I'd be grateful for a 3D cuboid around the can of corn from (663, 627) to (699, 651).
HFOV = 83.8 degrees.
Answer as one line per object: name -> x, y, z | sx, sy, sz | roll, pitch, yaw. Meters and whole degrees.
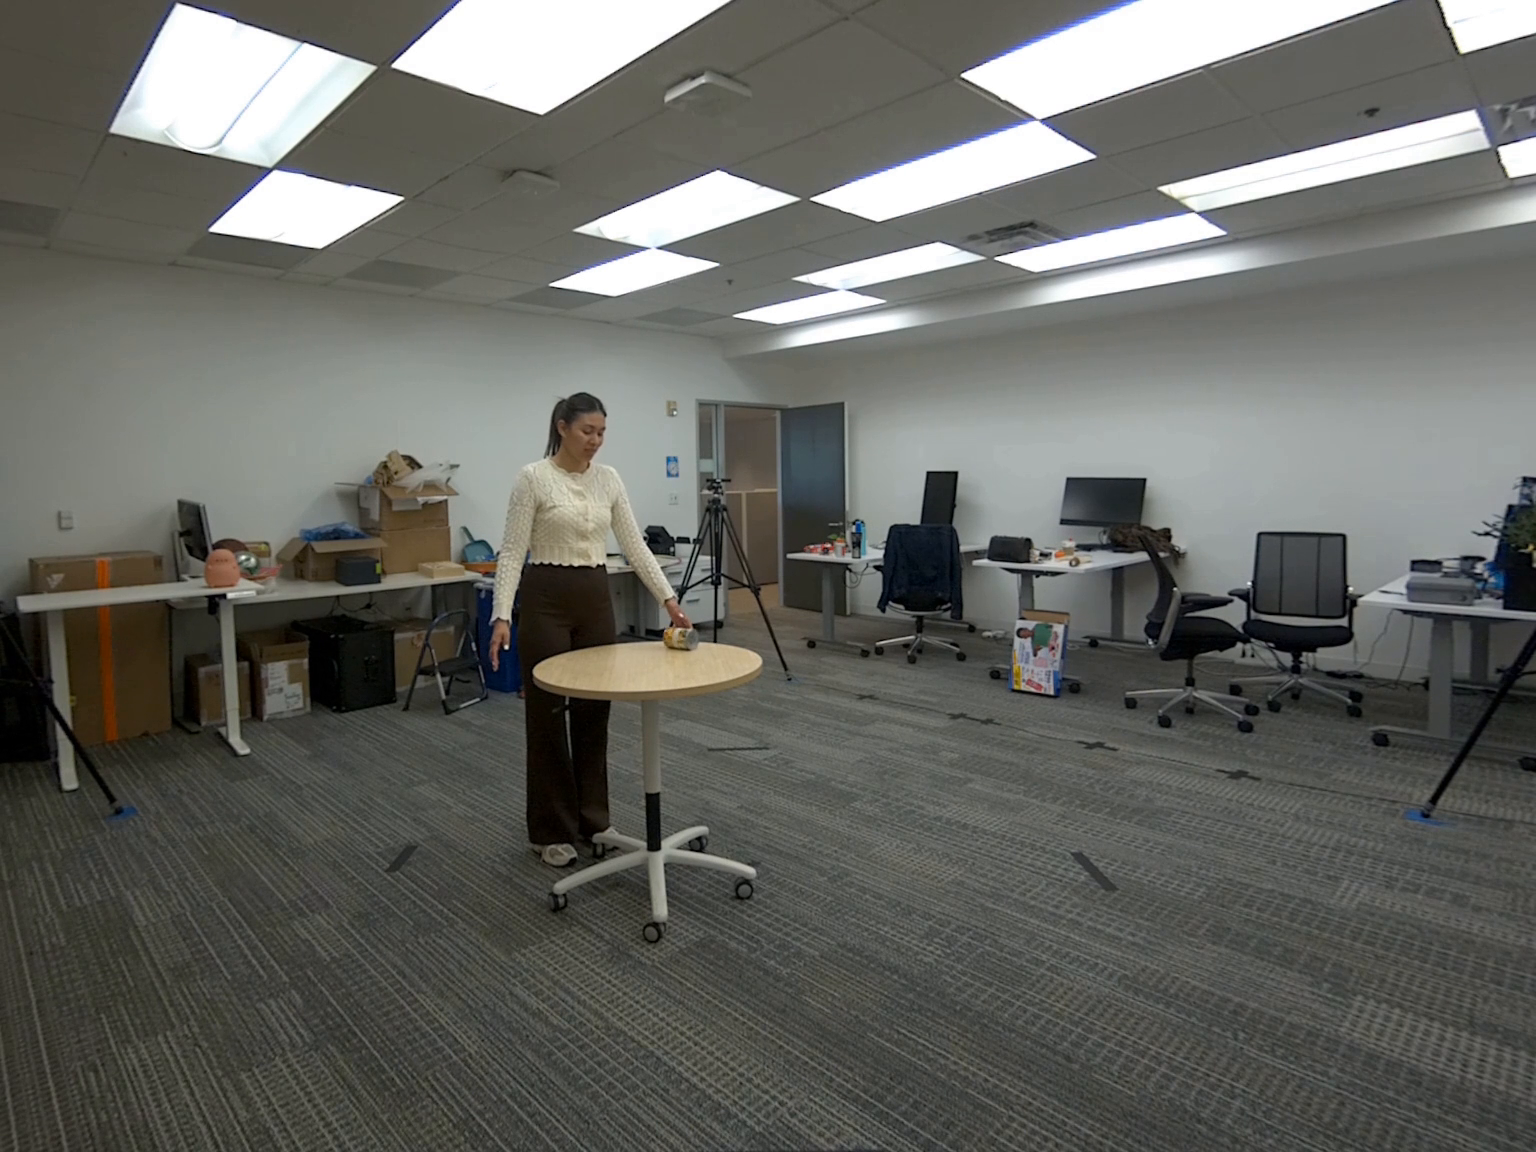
can of corn -> -0.324, 0.228, 3.086 | 0.113, 0.074, 0.073 | -1, 4, 17
